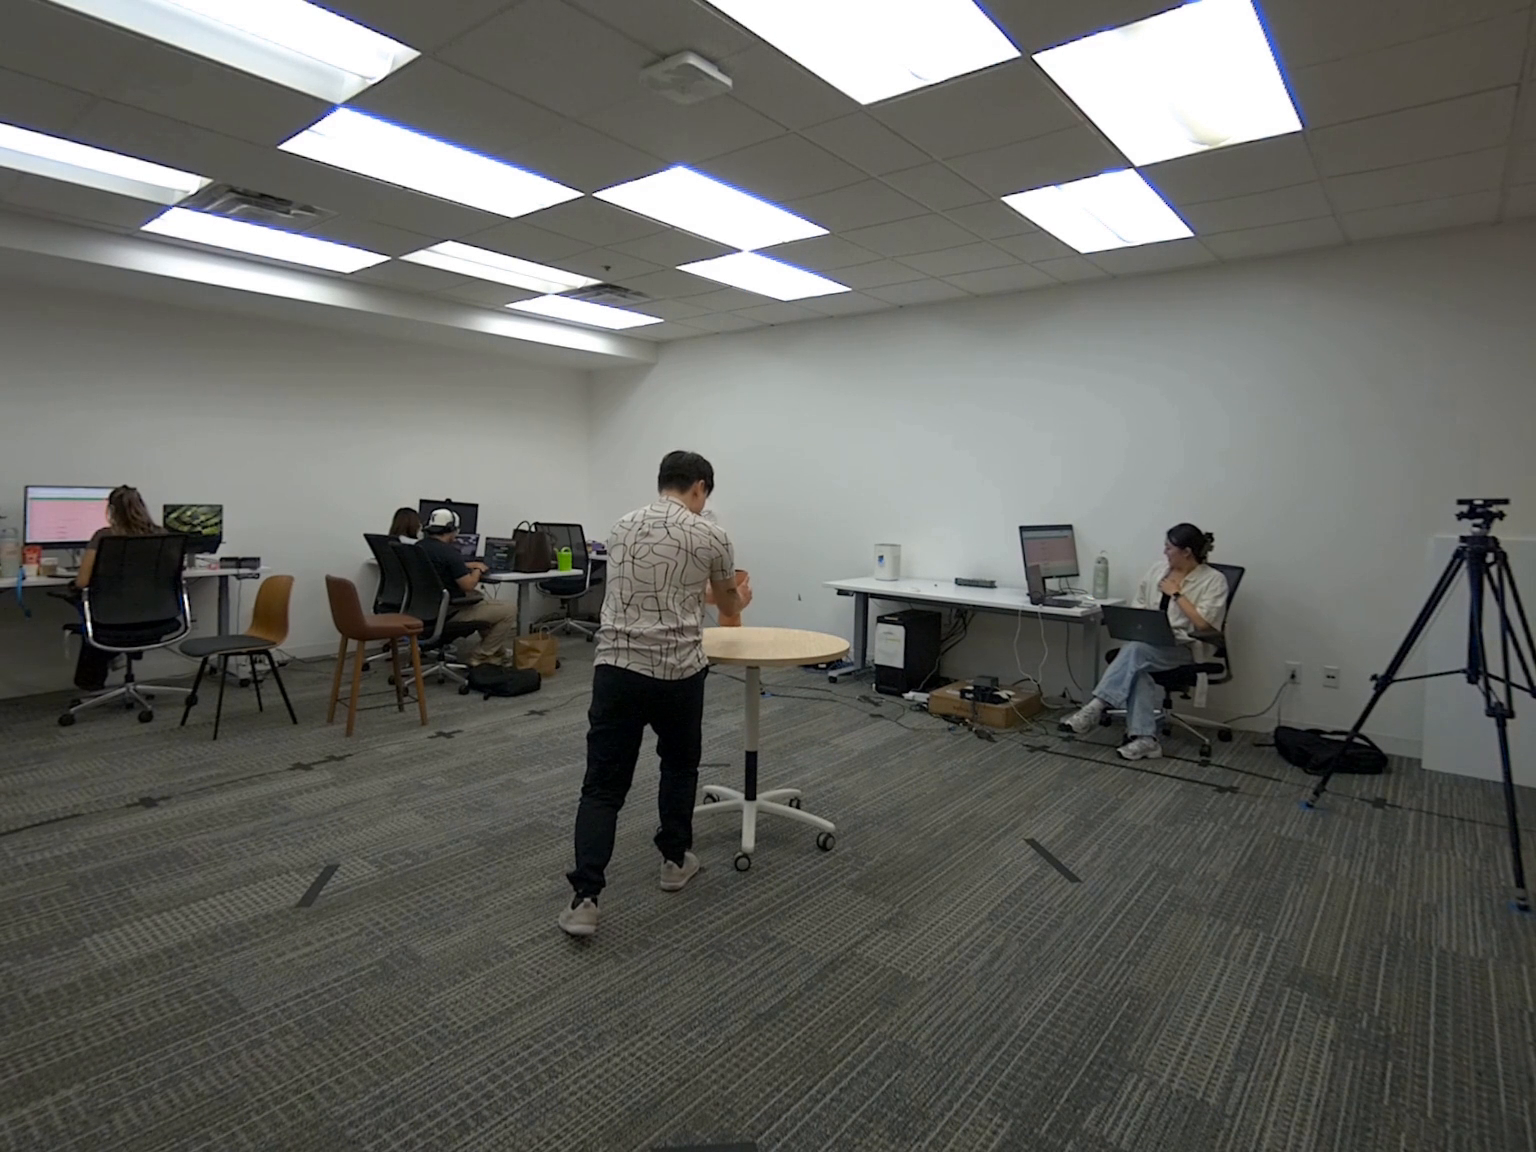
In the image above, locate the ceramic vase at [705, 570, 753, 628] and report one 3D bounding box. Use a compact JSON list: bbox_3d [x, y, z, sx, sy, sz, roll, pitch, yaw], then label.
[{"bbox_3d":[-0.165,0.086,3.384,0.154,0.219,0.139,0,4,-41],"label":"ceramic vase"}]
